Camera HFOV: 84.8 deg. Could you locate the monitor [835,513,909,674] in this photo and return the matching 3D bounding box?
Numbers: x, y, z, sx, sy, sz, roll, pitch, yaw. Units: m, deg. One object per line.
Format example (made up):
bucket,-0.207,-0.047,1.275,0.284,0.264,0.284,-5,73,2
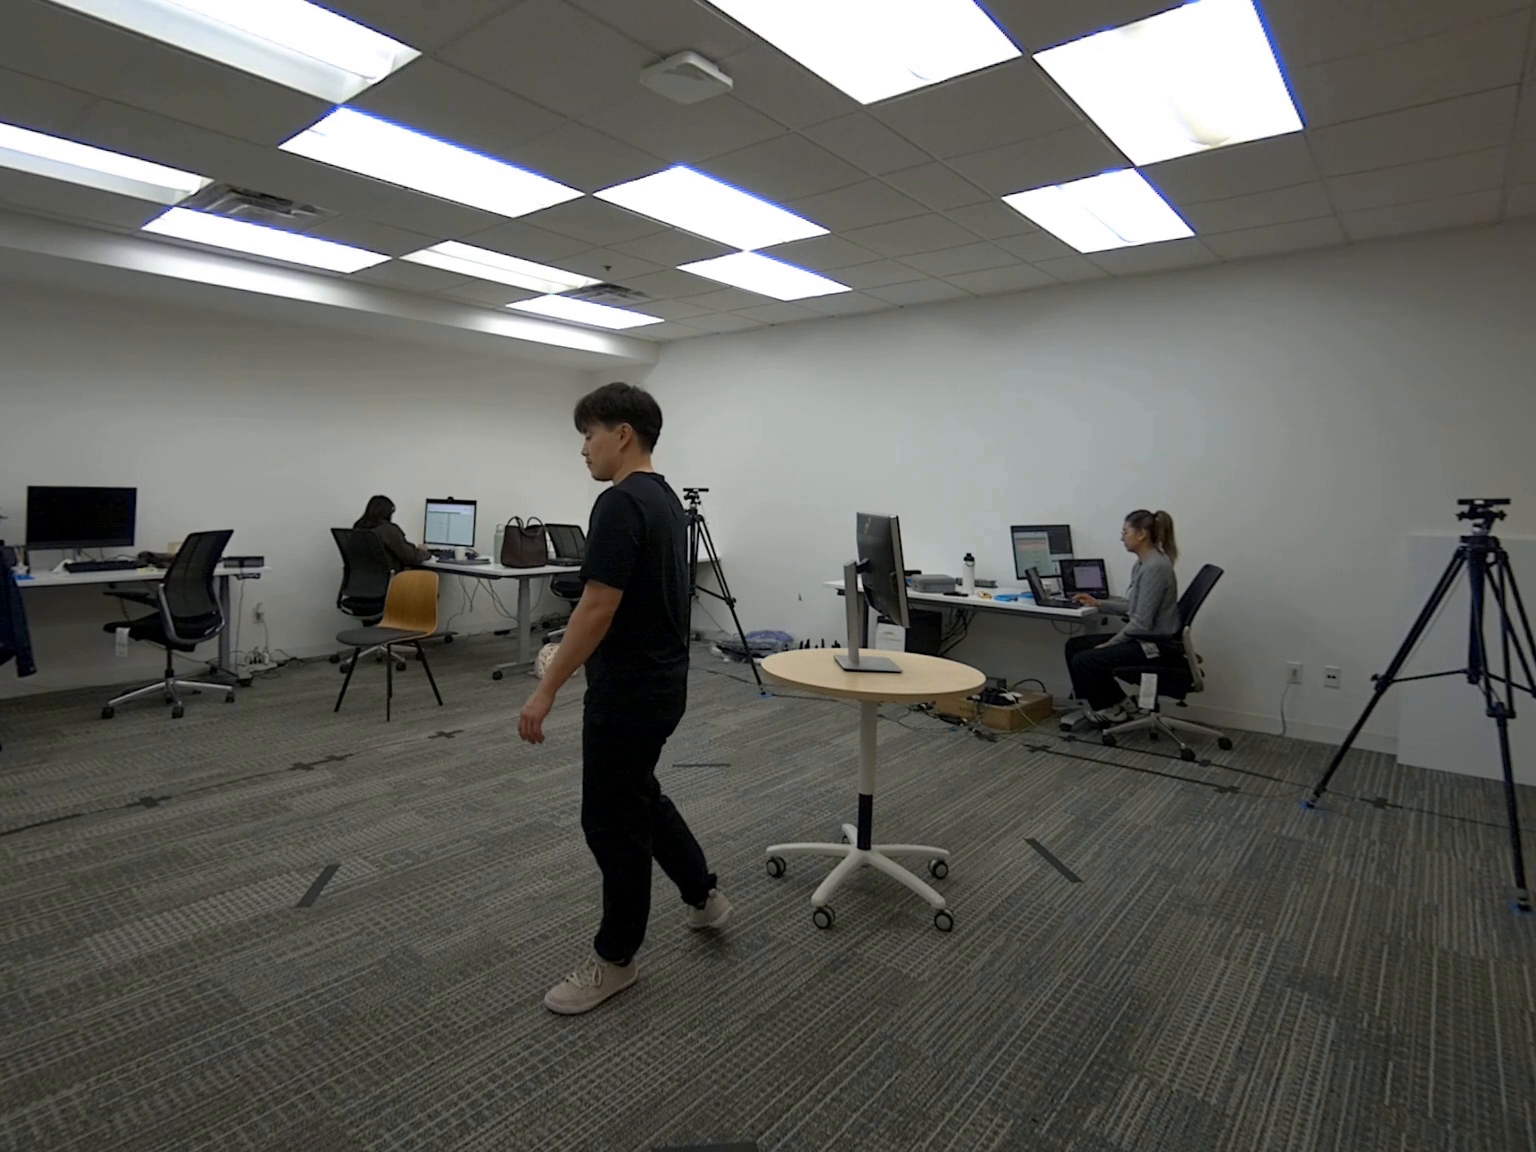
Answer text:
monitor,0.350,0.051,2.994,0.186,0.521,0.544,3,4,-7
